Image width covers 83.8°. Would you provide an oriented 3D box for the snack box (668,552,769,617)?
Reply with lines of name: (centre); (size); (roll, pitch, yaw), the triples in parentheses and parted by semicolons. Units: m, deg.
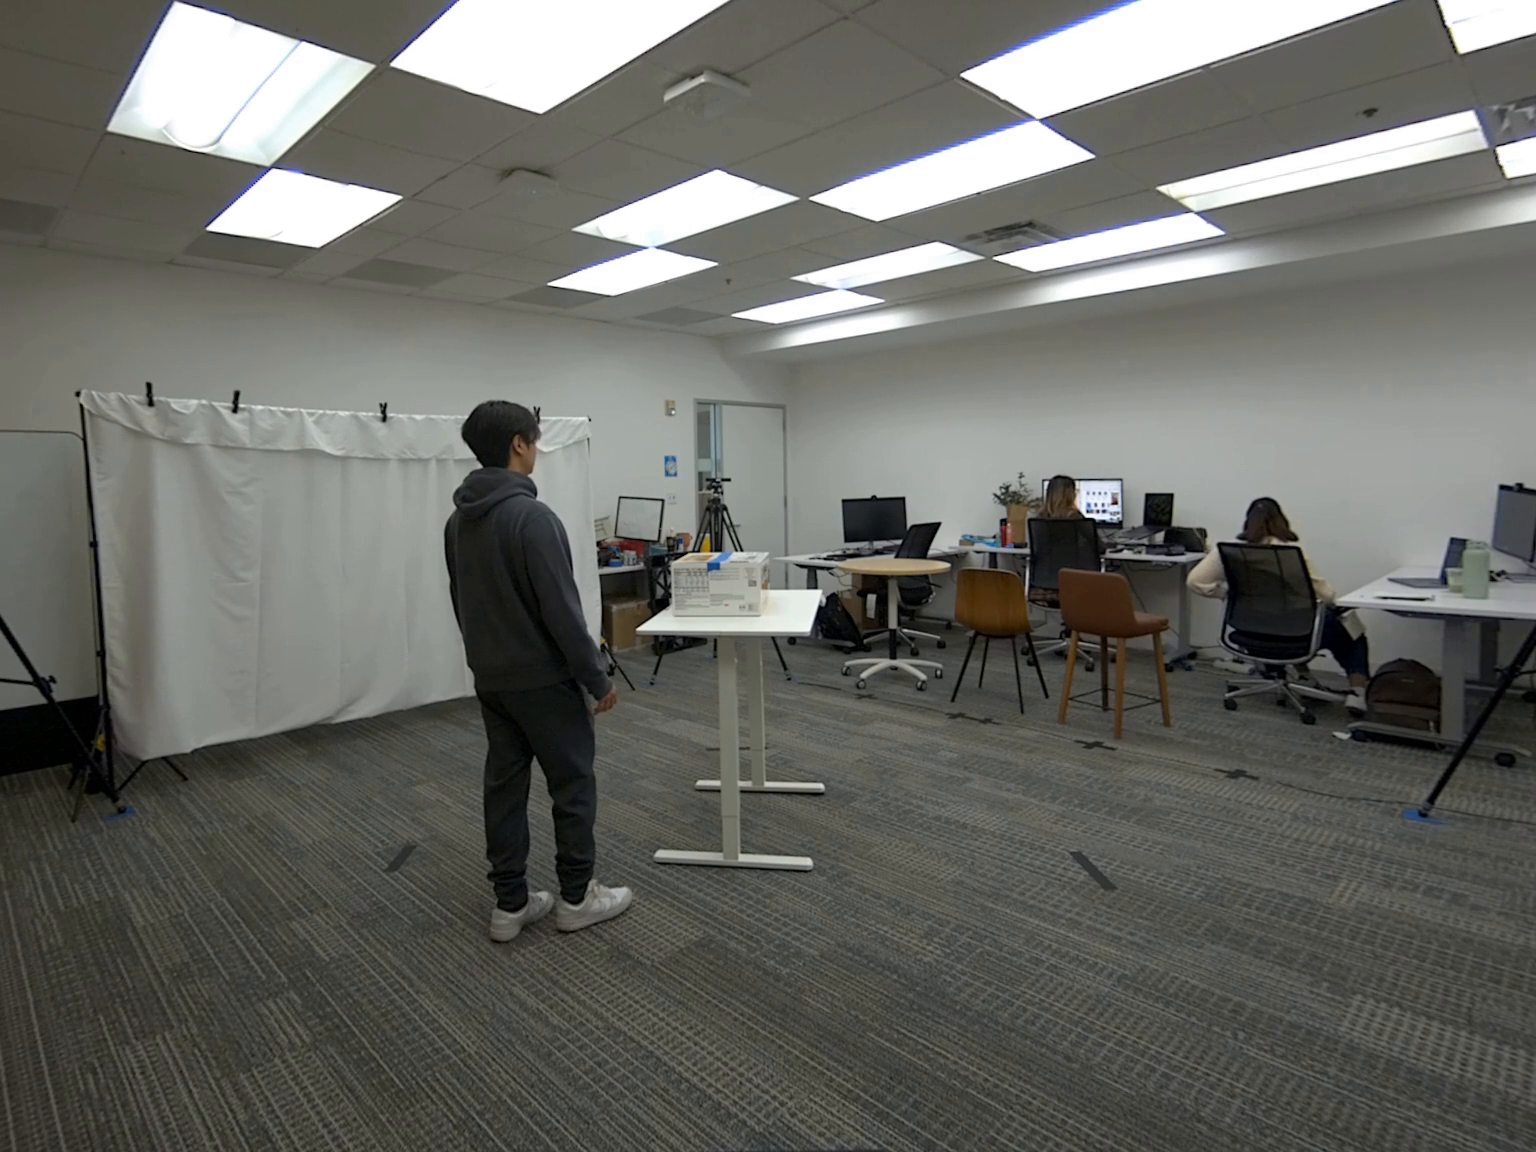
snack box: (-0.178, 0.028, 3.395); (0.343, 0.205, 0.404); (-1, 6, 7)
